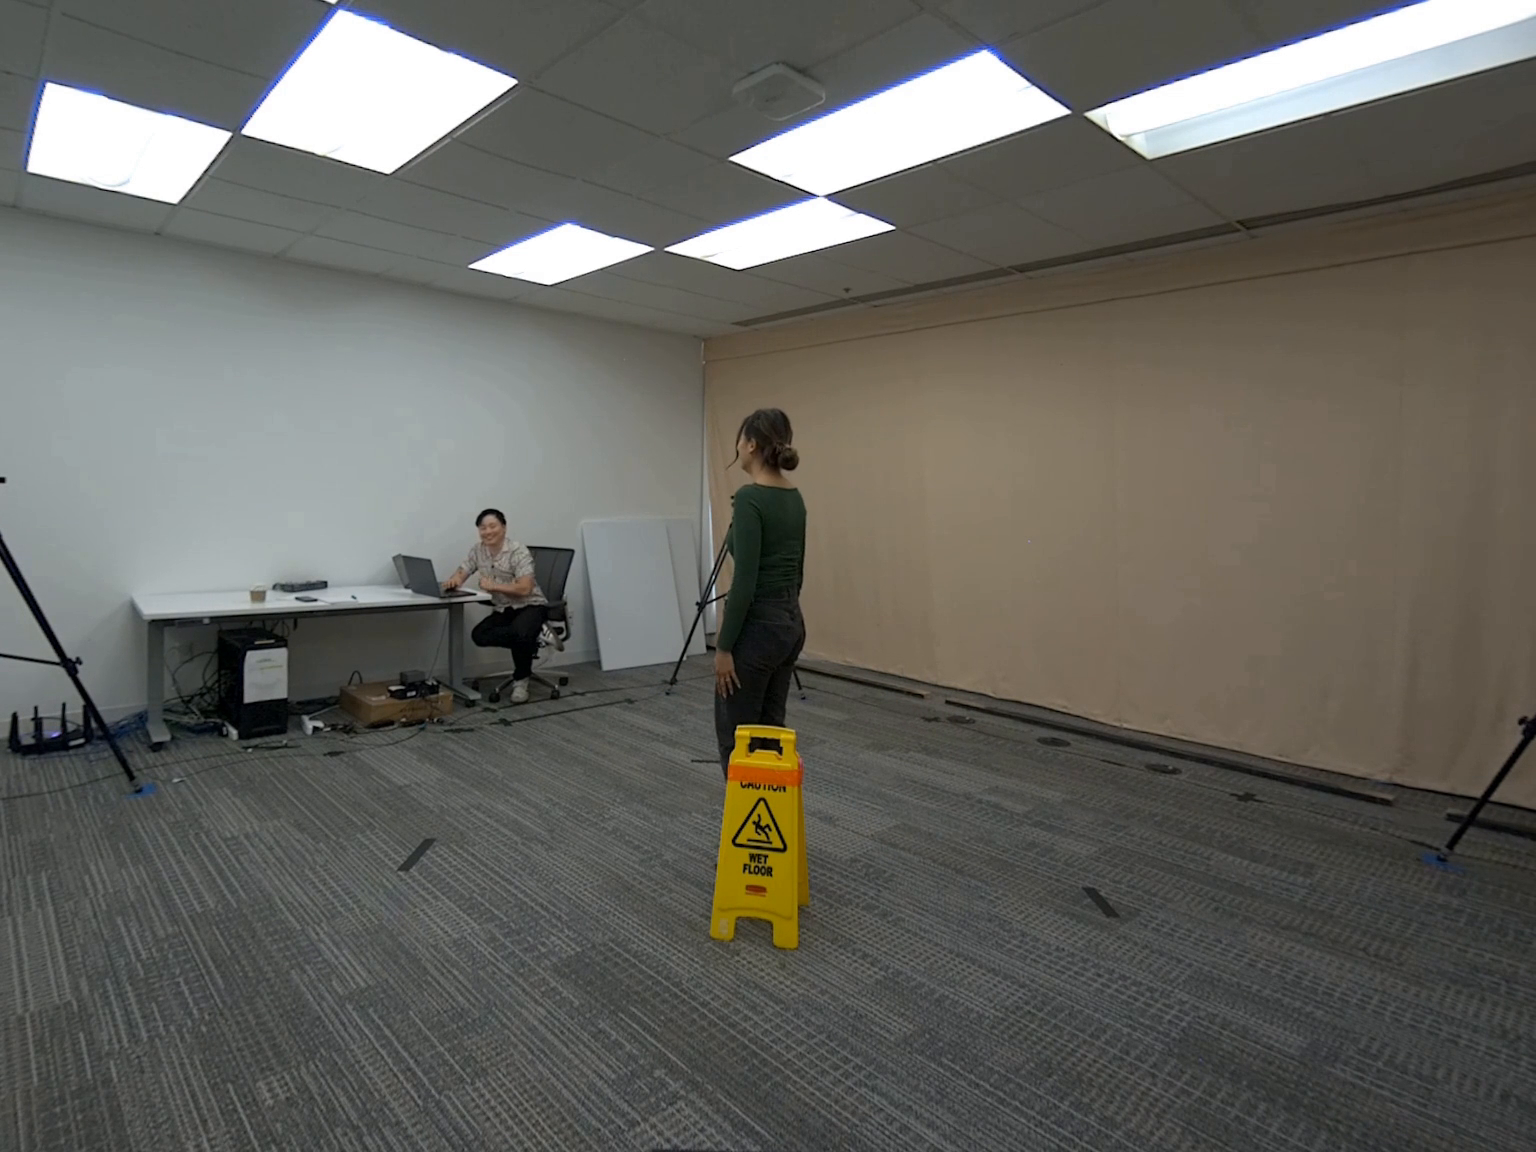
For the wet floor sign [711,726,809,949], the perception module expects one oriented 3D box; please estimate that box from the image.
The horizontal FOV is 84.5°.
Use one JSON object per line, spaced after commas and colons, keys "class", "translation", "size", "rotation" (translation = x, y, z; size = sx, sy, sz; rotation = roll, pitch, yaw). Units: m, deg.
{"class": "wet floor sign", "translation": [-0.016, 0.818, 2.752], "size": [0.285, 0.644, 0.288], "rotation": [4, 3, 10]}
